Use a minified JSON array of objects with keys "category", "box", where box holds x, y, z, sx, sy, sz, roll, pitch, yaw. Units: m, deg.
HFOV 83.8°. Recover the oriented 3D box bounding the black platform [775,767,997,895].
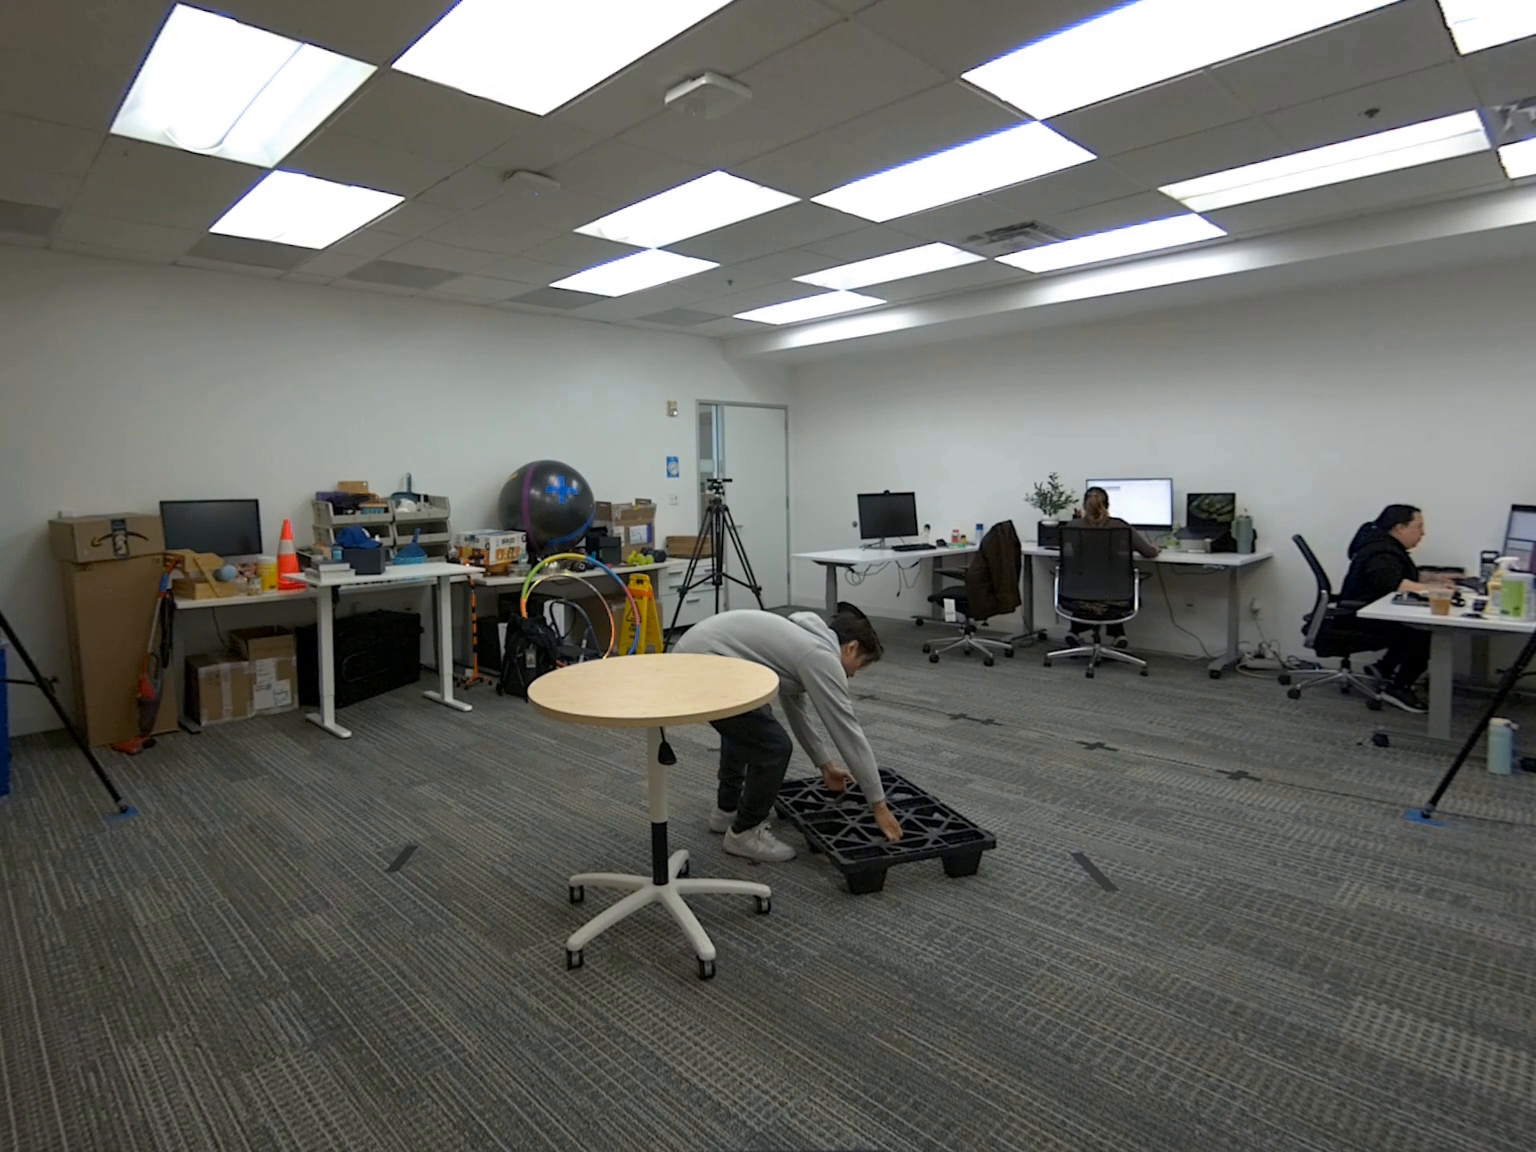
[{"category":"black platform","box":[0.384,0.953,3.260,0.595,0.143,0.822,-3,6,-19]}]
